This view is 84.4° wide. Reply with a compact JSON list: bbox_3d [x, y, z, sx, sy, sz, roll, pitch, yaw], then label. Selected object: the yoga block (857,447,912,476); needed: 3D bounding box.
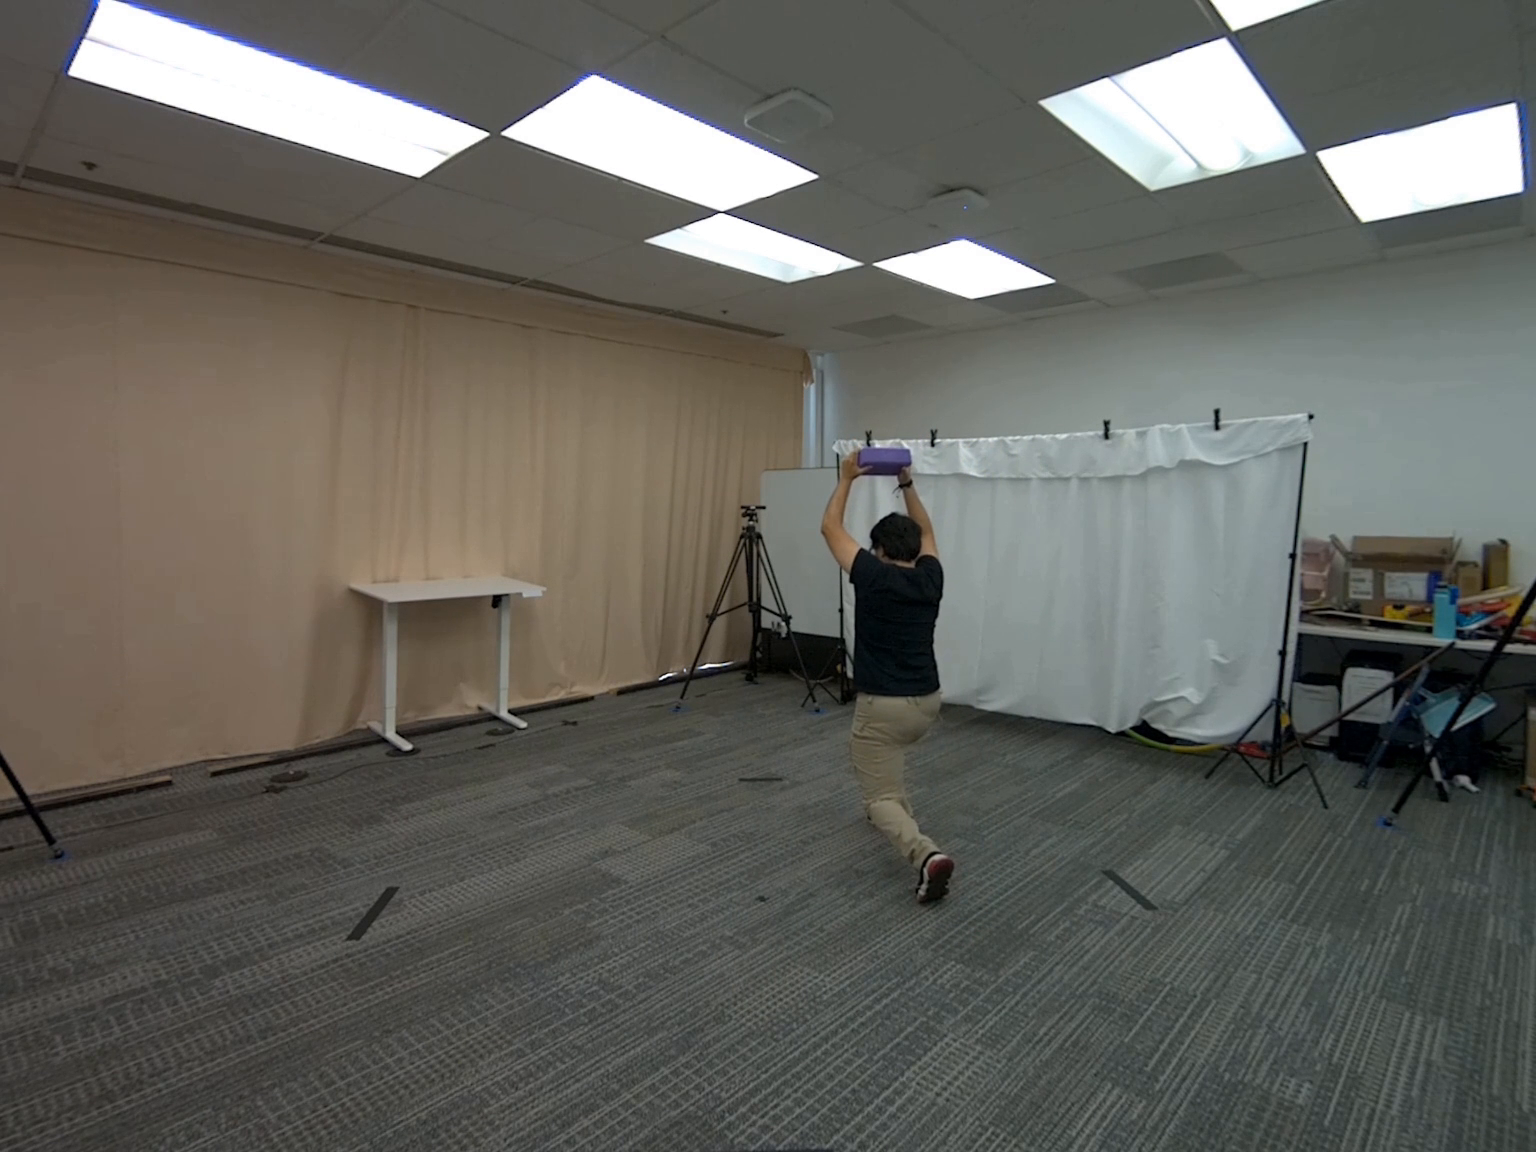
[{"bbox_3d":[0.493,-0.499,3.629,0.226,0.077,0.150,-1,-13,-15],"label":"yoga block"}]
